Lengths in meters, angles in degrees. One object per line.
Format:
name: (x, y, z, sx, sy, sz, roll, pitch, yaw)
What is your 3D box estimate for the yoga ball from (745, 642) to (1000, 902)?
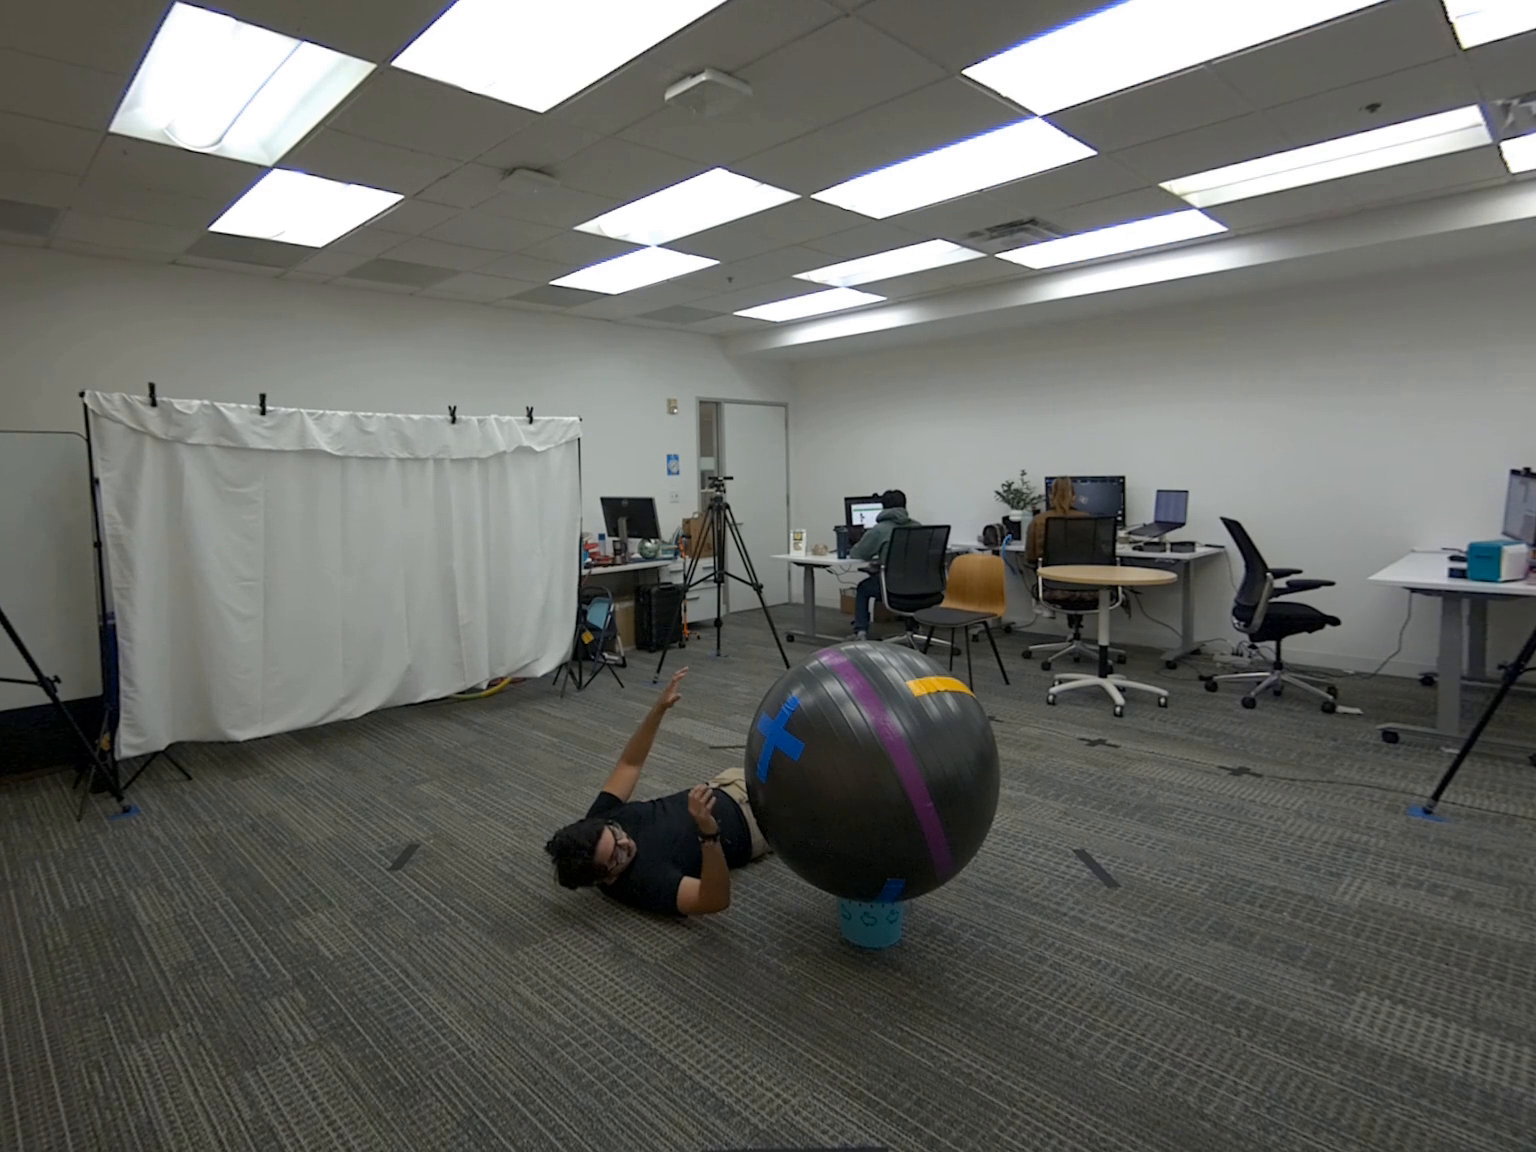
yoga ball: (0.308, 0.581, 2.582, 0.757, 0.755, 0.761, -1, 4, -2)
